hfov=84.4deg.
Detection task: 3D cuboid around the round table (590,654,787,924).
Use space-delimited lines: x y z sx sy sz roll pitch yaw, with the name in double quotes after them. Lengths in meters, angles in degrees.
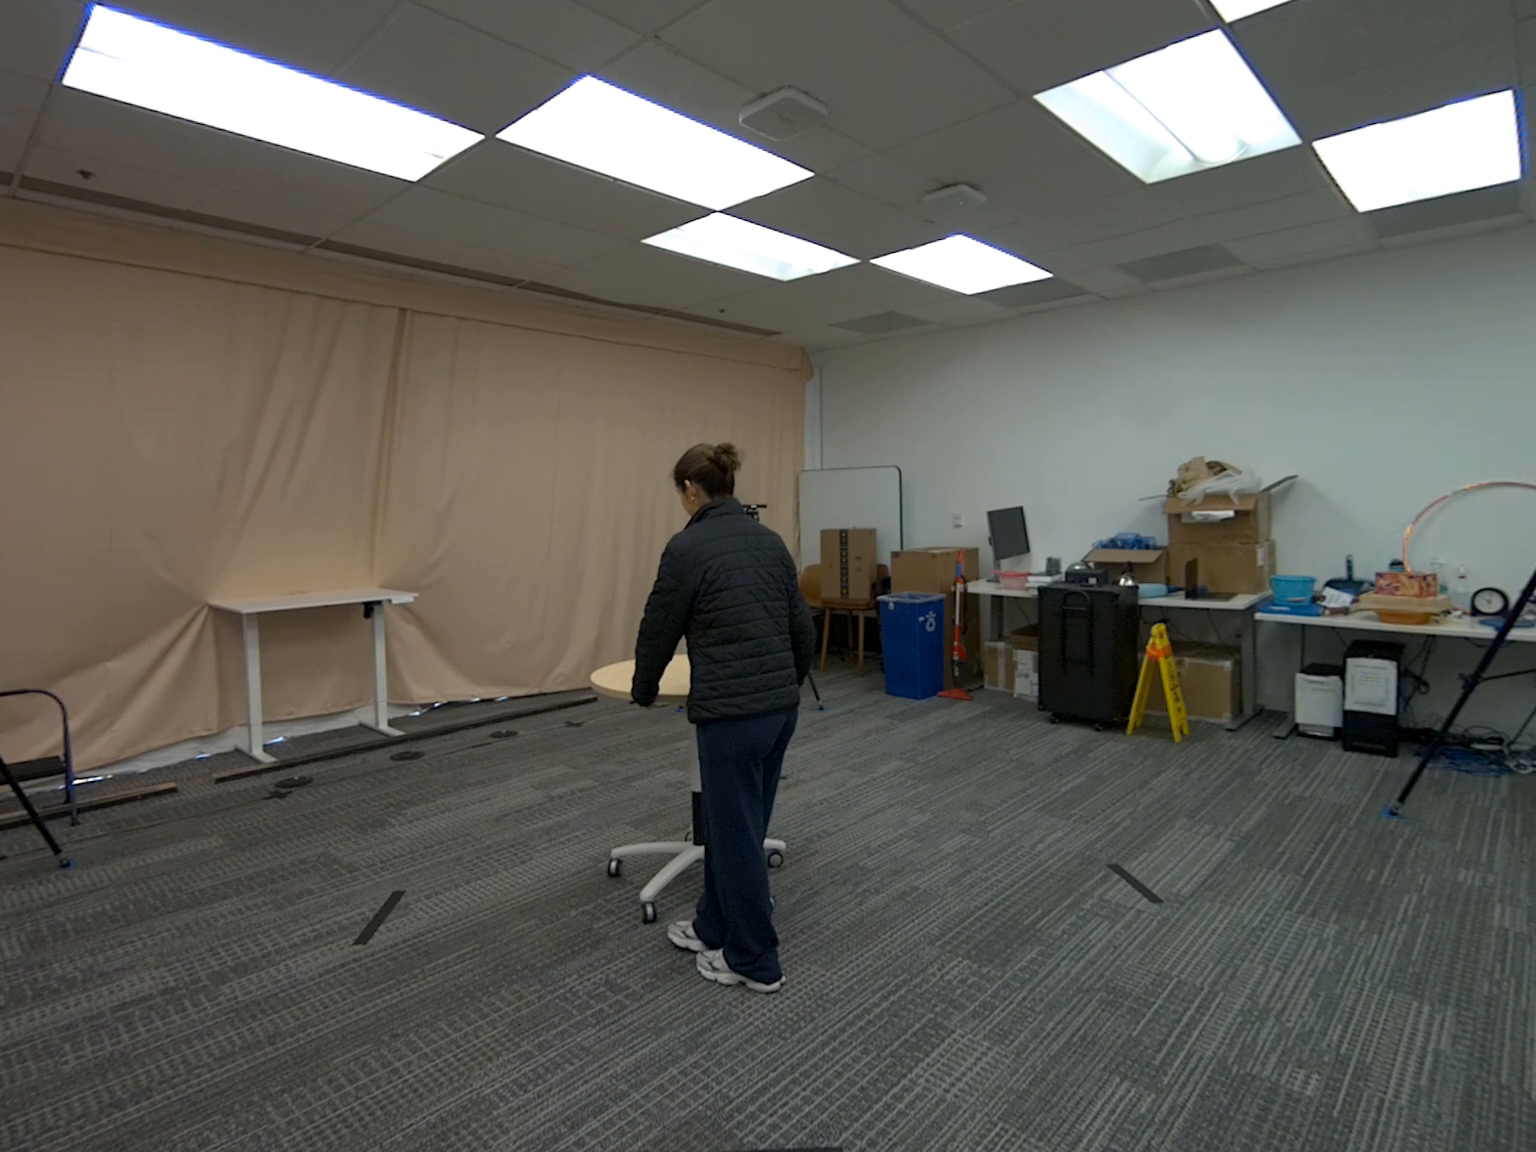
-0.240 0.737 3.121 0.784 0.785 0.788 -1 4 -2 "round table"
